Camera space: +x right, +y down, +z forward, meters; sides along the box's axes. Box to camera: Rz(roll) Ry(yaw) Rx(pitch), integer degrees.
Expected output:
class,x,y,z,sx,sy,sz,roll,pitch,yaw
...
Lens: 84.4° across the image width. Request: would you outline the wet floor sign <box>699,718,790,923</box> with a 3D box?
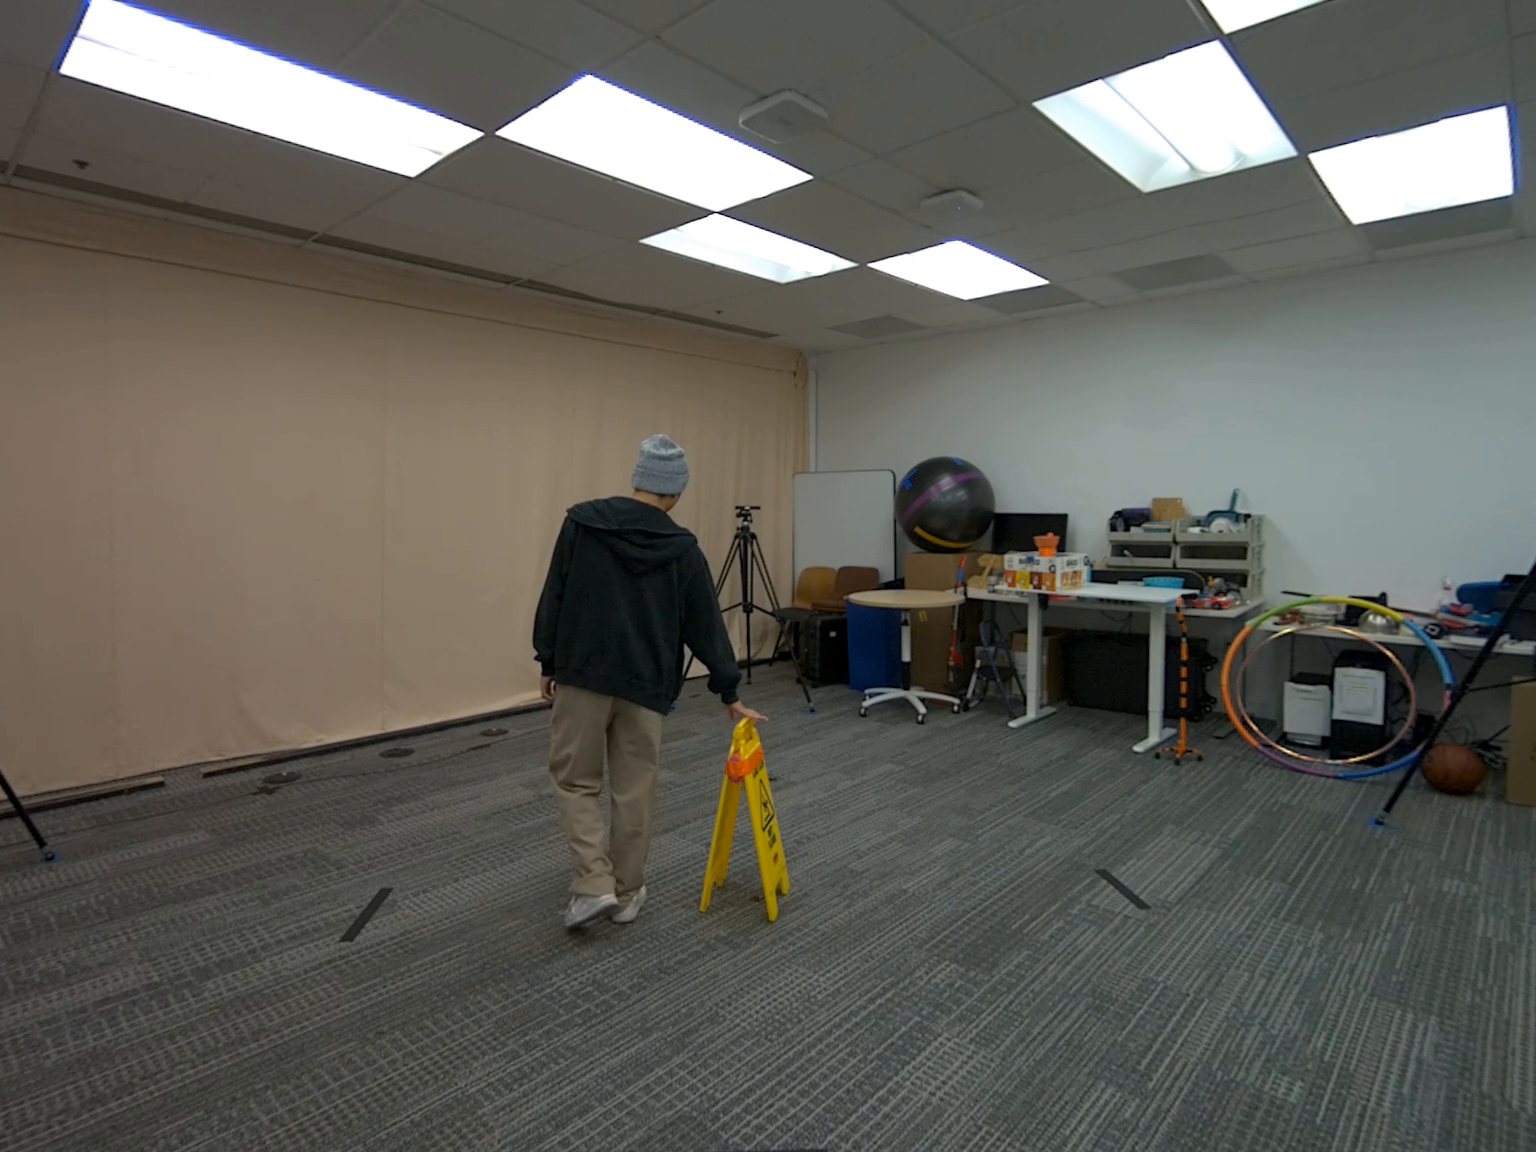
class,x,y,z,sx,sy,sz,roll,pitch,yaw
wet floor sign,-0.081,0.823,2.962,0.294,0.645,0.278,0,2,14
